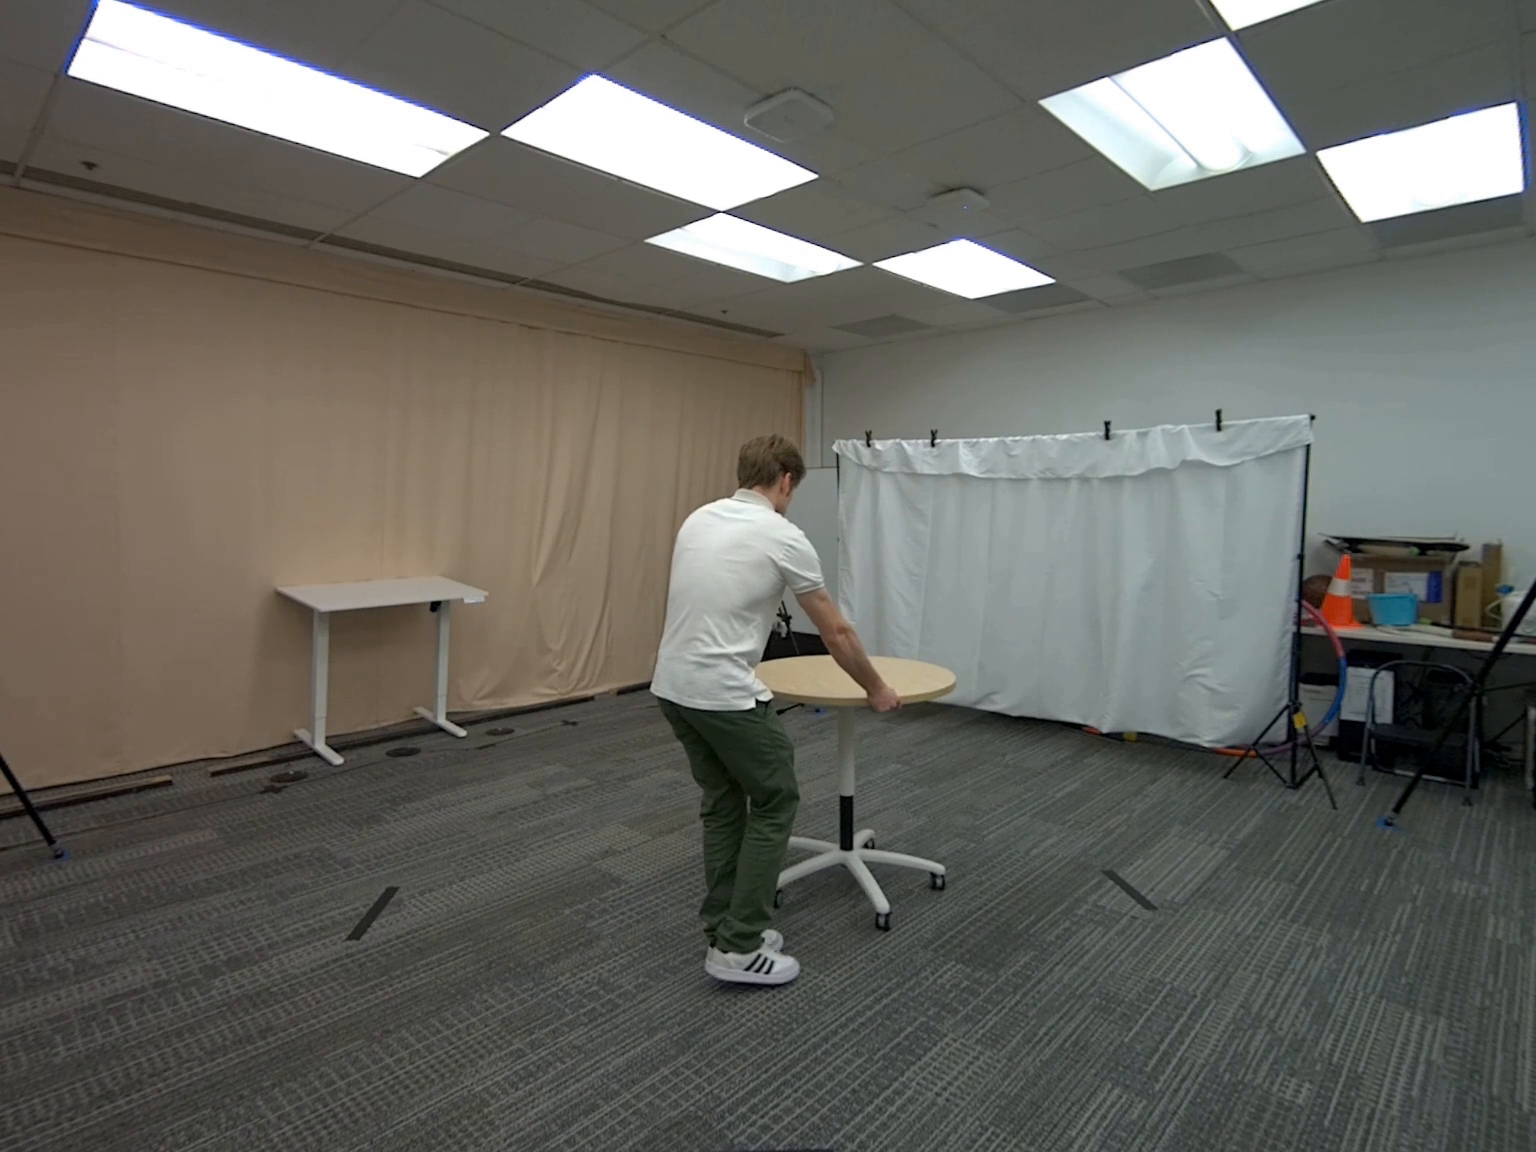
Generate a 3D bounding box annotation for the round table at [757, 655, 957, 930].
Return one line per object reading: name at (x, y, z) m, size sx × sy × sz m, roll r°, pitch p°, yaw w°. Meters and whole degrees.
round table at (0.288, 0.742, 3.047) m, size 0.784 × 0.785 × 0.787 m, roll 0°, pitch 3°, yaw -2°
